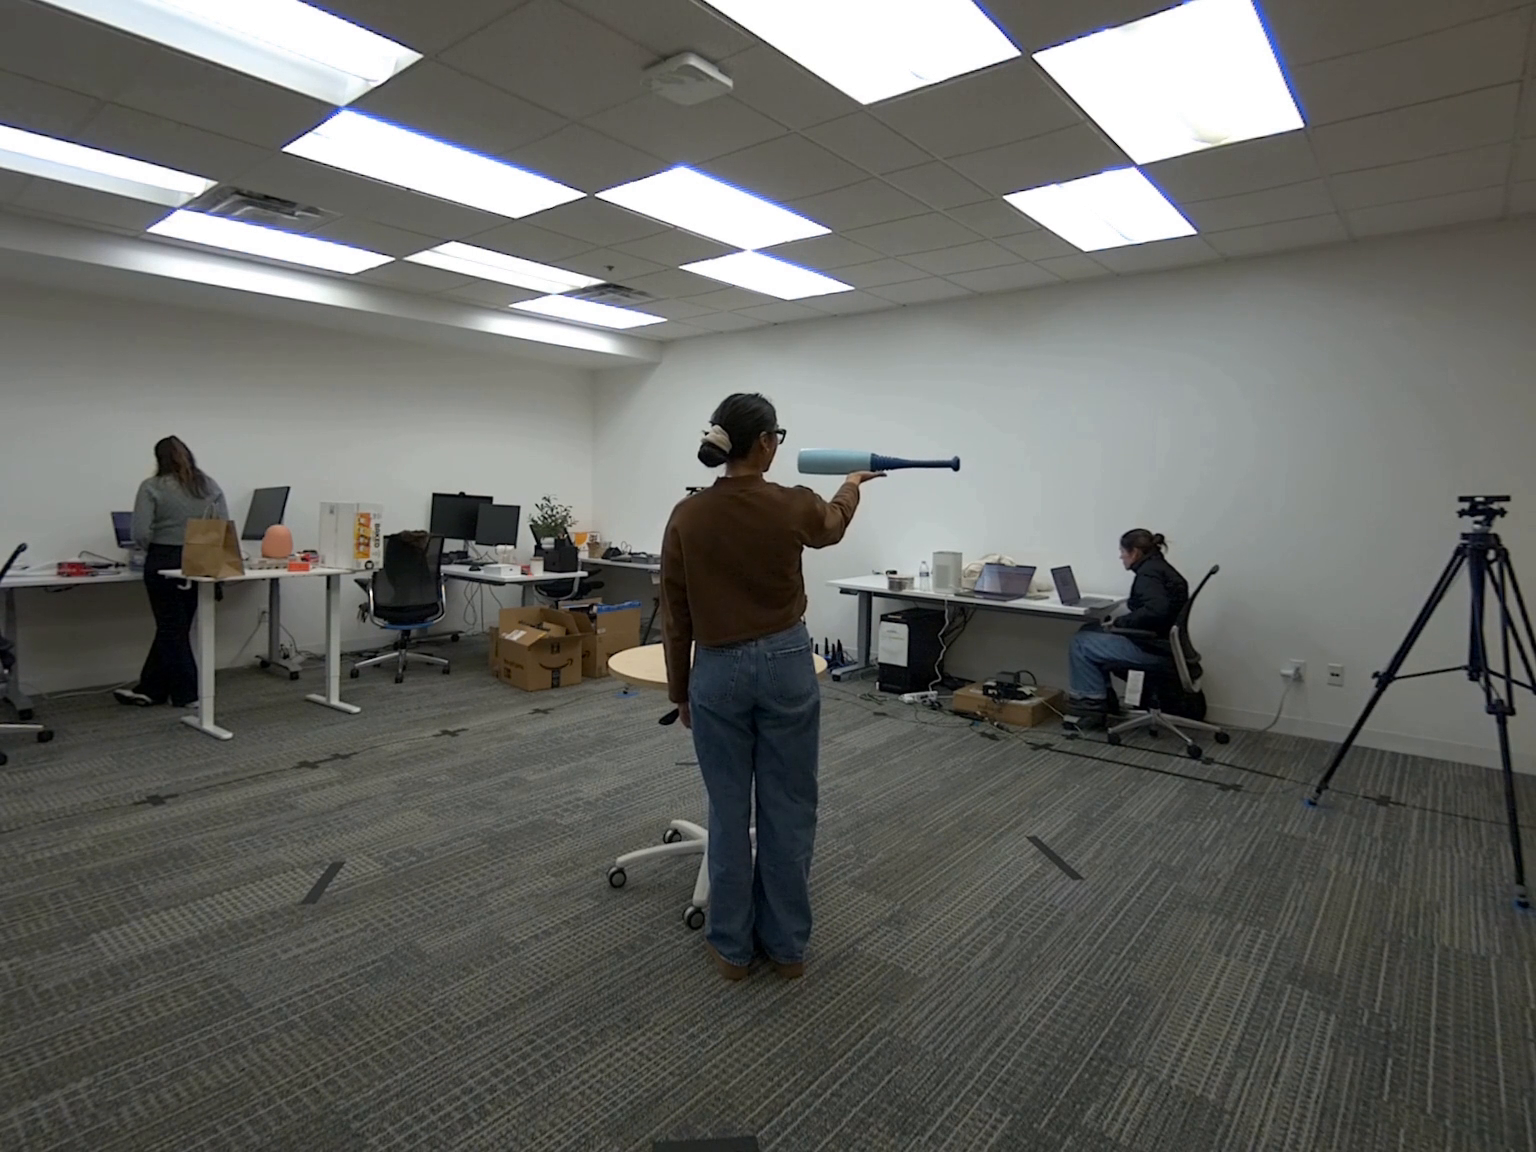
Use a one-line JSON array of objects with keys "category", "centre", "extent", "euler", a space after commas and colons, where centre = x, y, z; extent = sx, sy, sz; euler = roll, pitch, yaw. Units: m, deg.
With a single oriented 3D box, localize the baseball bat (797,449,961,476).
[{"category": "baseball bat", "centre": [0.366, -0.384, 2.889], "extent": [0.550, 0.089, 0.088], "euler": [3, 4, 12]}]
